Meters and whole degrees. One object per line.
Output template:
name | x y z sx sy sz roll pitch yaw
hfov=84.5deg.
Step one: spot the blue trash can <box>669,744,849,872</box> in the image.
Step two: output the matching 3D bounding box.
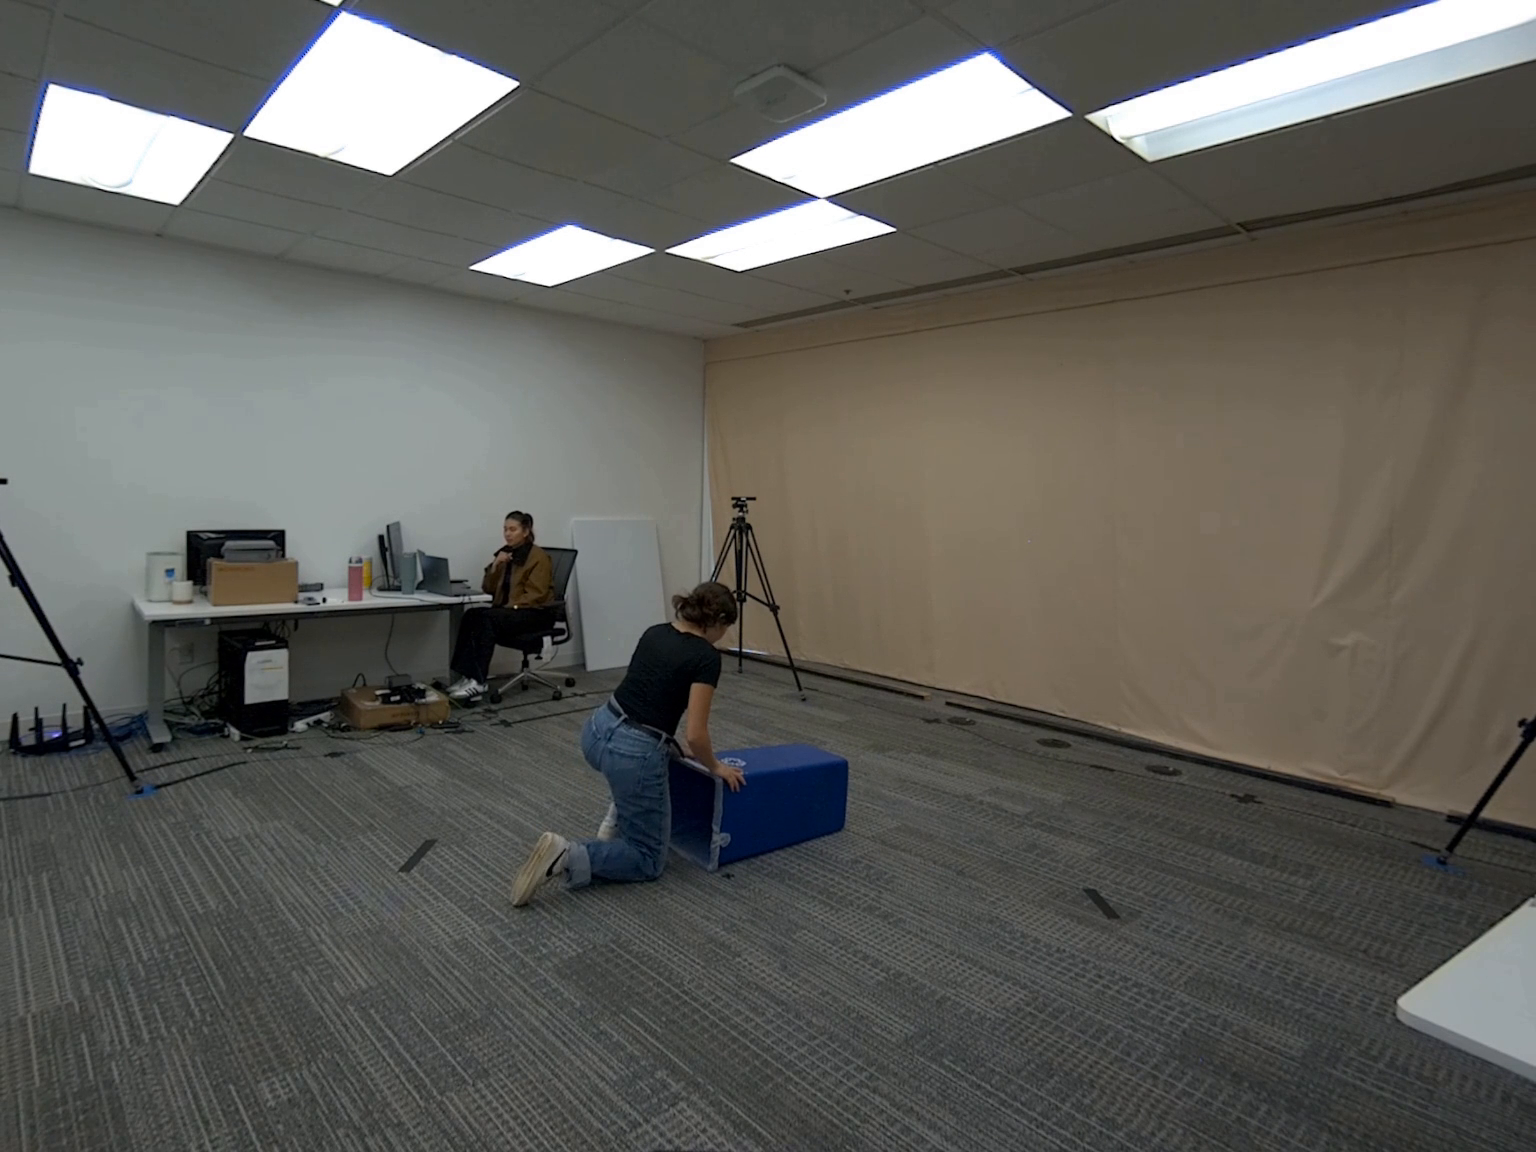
blue trash can | -0.045 0.915 3.469 0.696 0.377 0.383 1 3 -39
